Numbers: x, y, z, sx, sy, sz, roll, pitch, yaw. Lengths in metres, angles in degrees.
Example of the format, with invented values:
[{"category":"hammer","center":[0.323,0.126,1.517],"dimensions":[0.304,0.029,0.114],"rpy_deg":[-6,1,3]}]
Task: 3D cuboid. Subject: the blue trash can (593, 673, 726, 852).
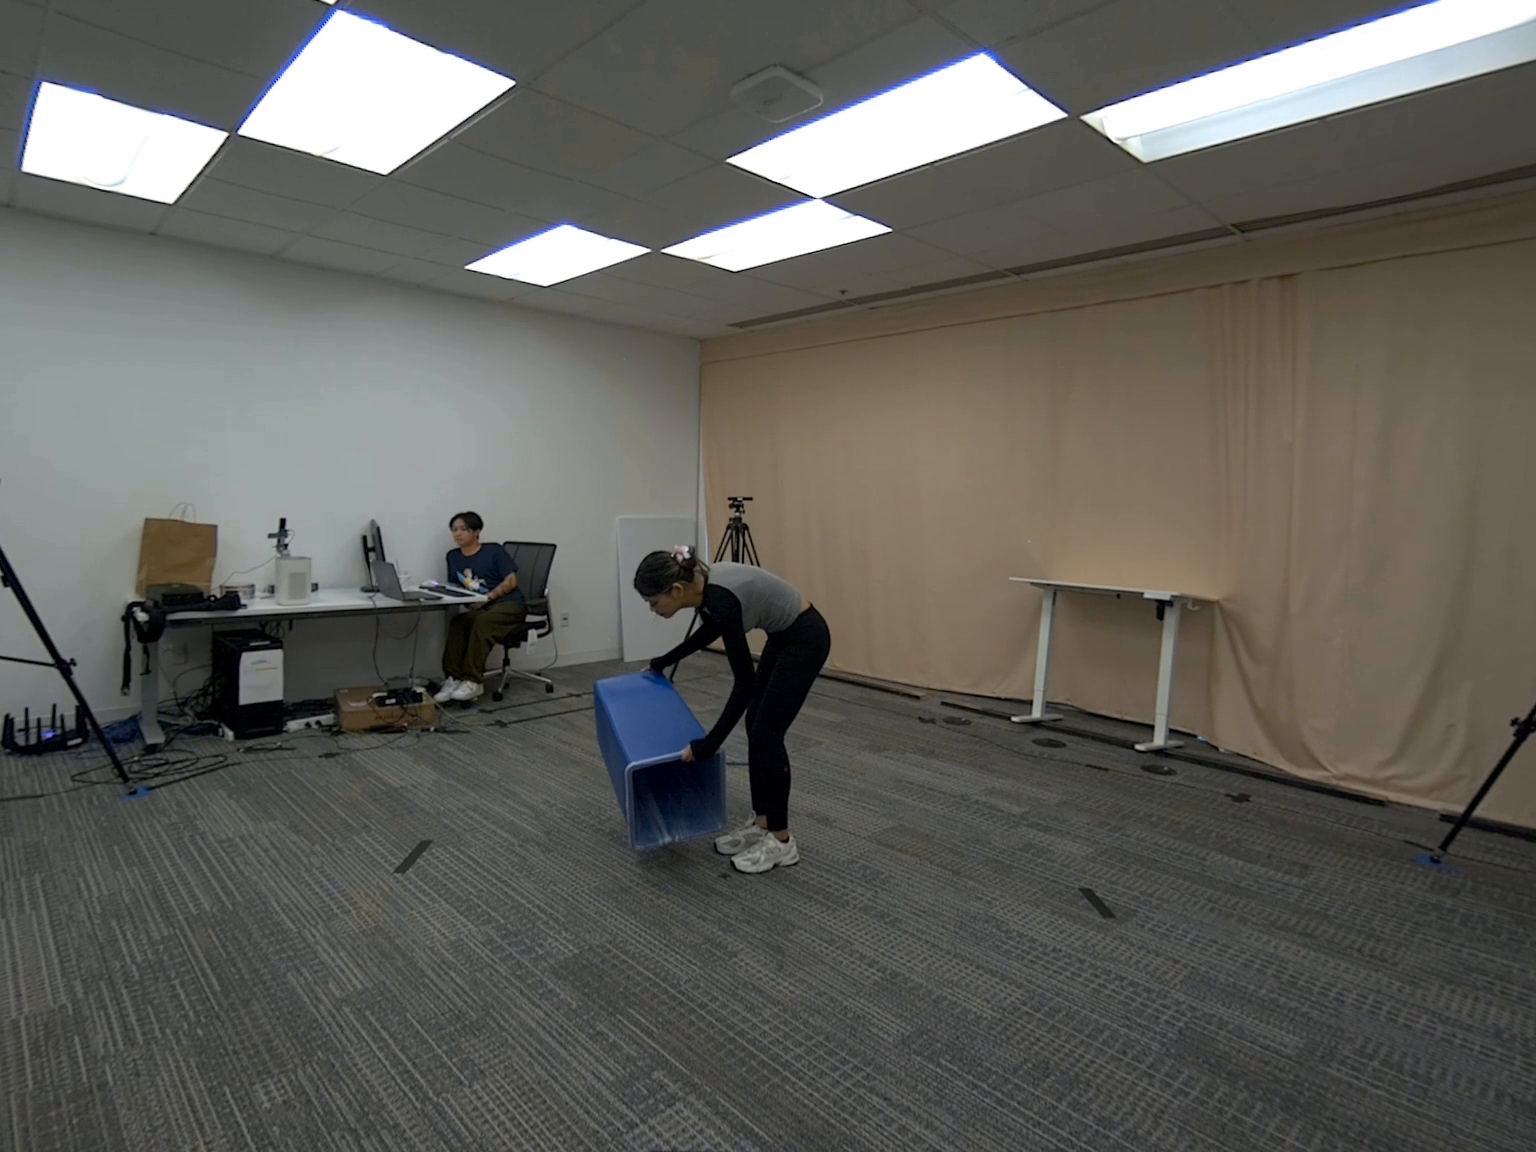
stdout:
[{"category":"blue trash can","center":[-0.470,0.682,3.338],"dimensions":[0.373,0.368,0.734],"rpy_deg":[-8,23,-21]}]
